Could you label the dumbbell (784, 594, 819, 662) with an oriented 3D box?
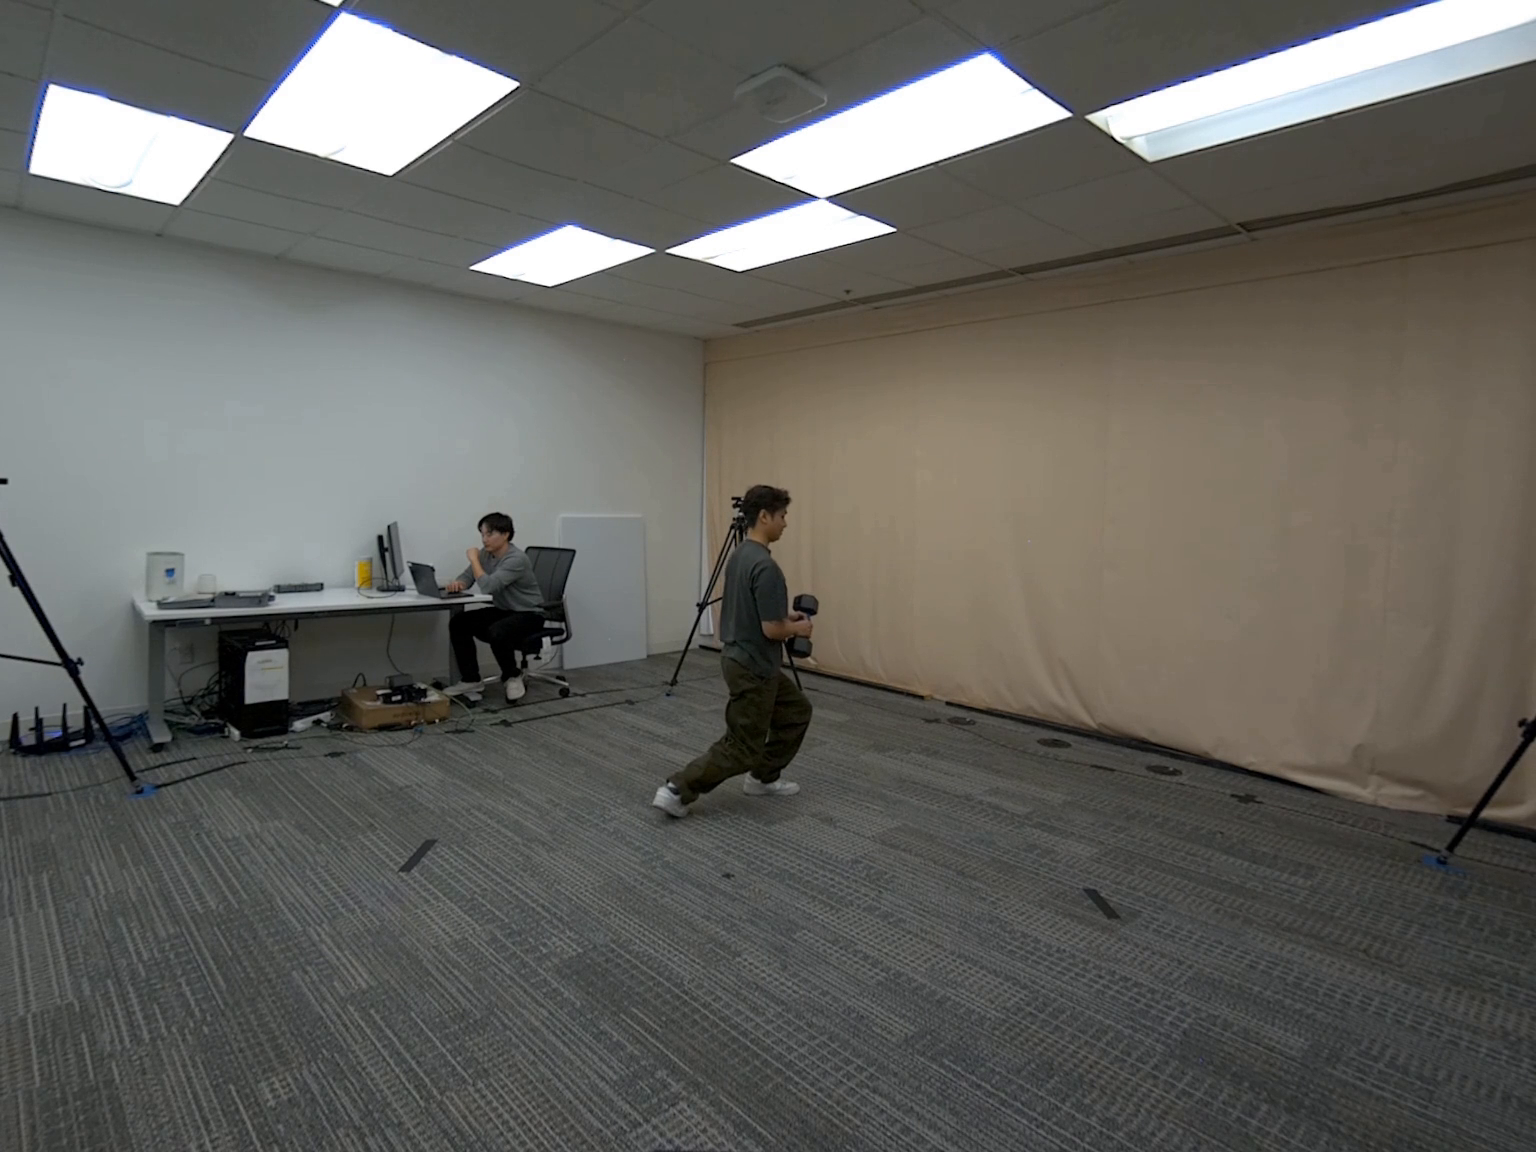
[{"bbox_3d":[0.144,0.226,3.999,0.111,0.297,0.119,1,-26,24],"label":"dumbbell"}]
